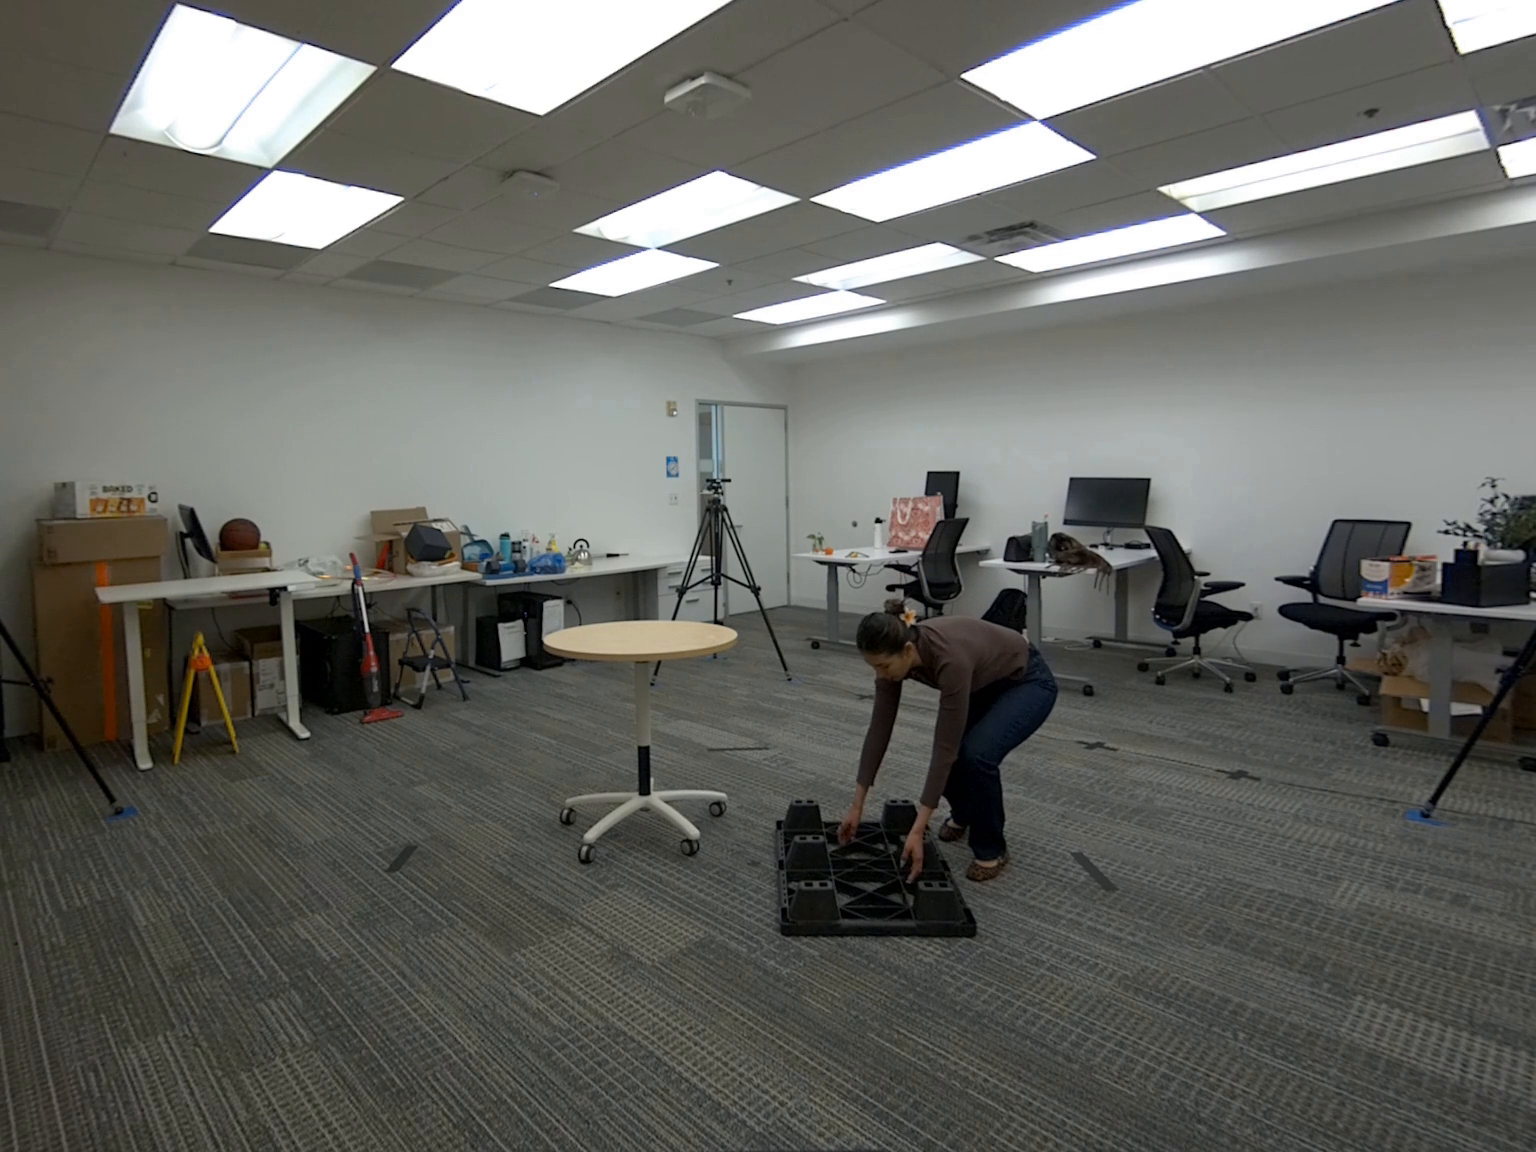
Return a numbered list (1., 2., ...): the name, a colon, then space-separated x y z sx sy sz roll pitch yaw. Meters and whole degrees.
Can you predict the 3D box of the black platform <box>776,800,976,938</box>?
1. black platform: 0.336 0.985 2.980 0.606 0.142 0.809 -1 6 0
